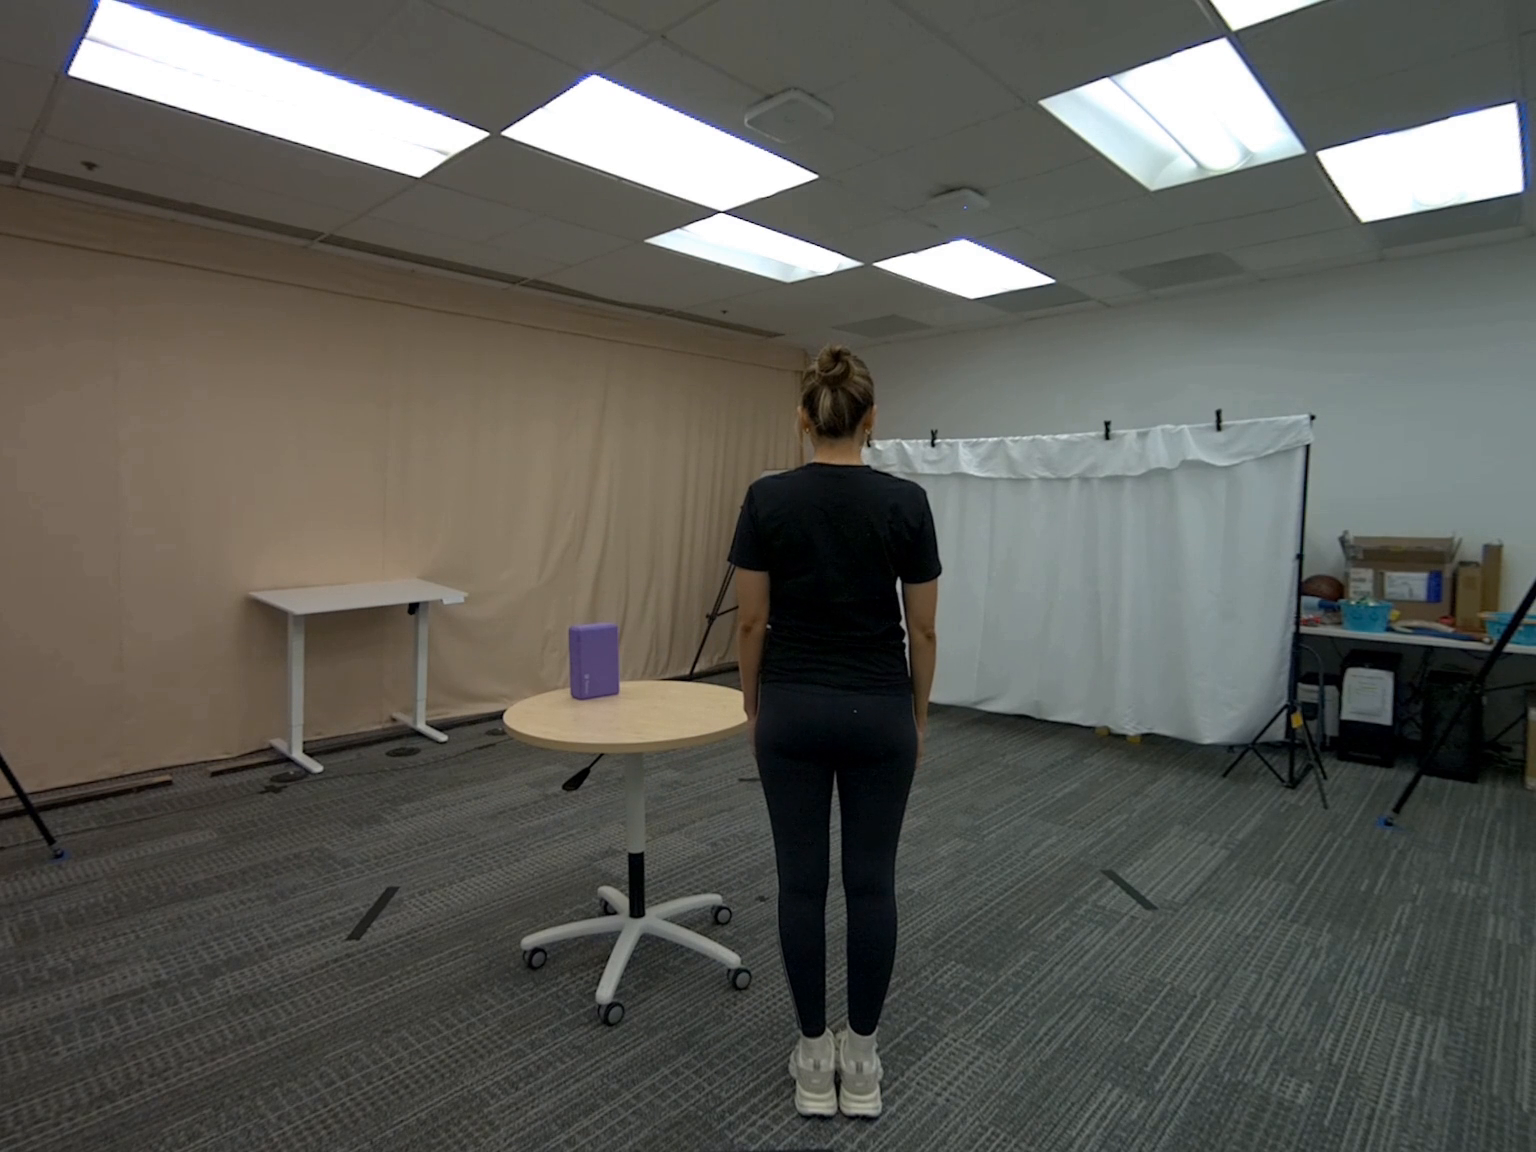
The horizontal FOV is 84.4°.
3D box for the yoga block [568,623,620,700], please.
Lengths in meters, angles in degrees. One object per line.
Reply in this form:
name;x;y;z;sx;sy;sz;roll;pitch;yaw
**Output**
yoga block;-0.561;0.273;2.710;0.144;0.229;0.079;-3;4;-36
